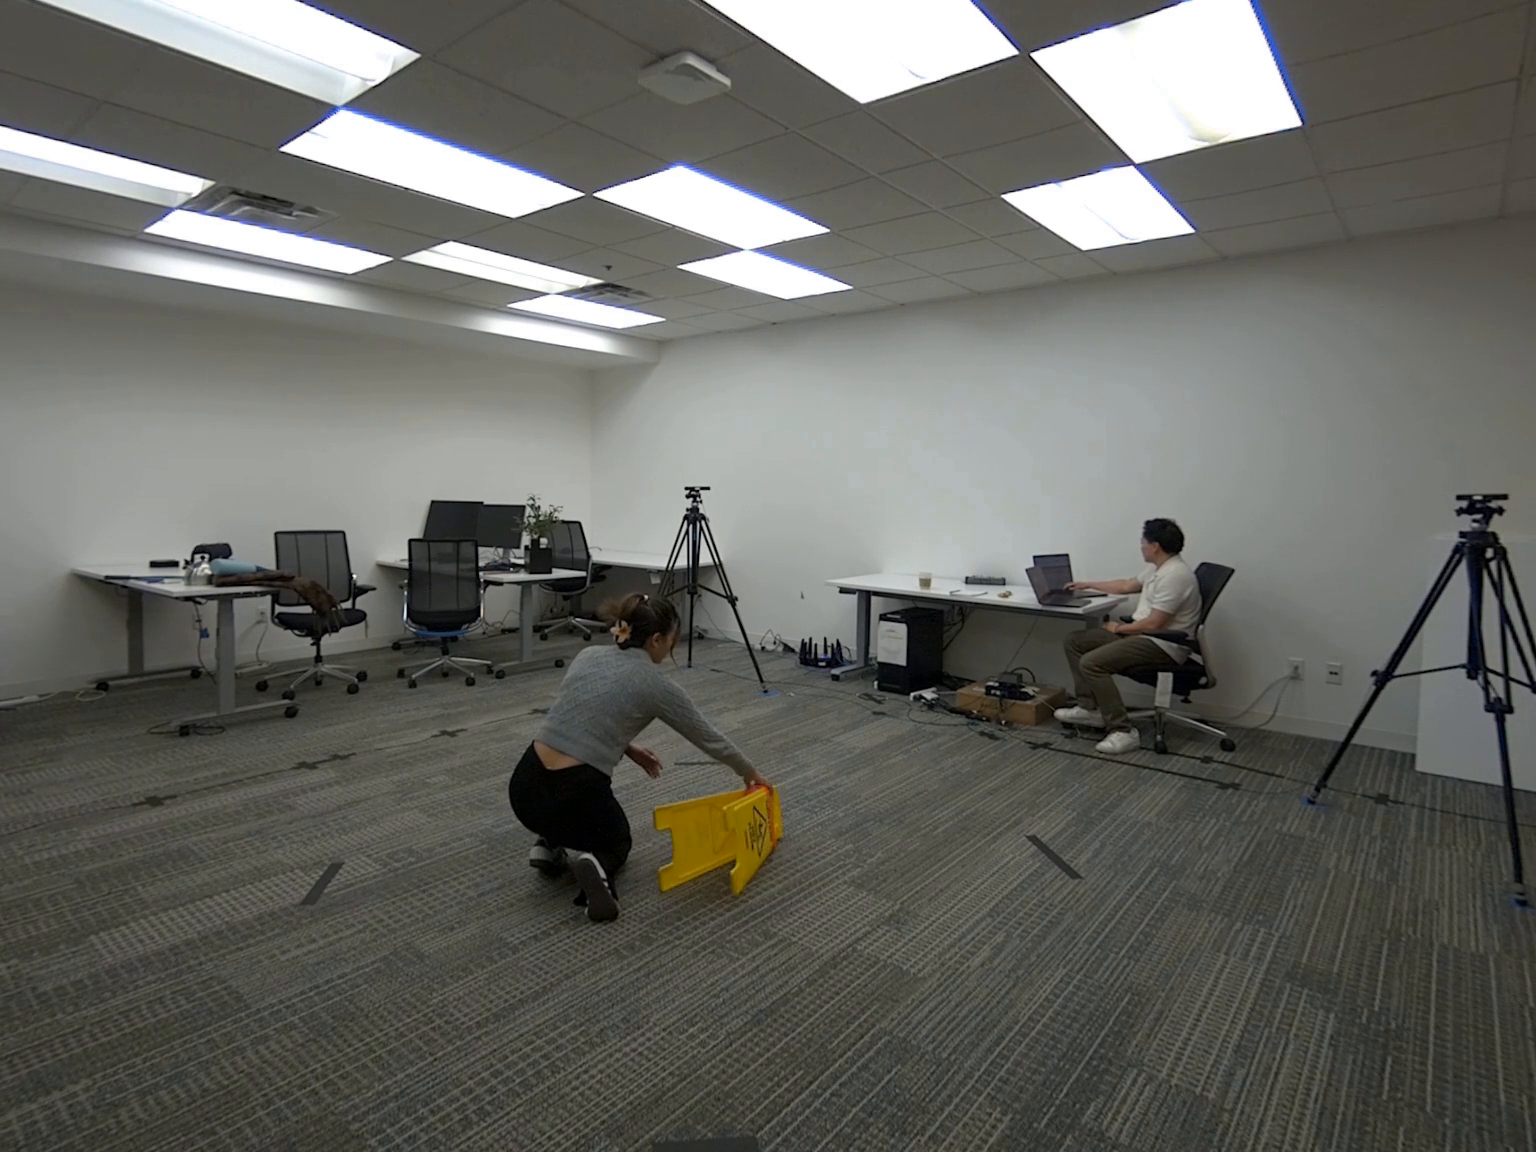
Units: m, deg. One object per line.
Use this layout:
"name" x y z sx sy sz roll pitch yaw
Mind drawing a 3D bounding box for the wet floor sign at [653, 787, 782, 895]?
"wet floor sign" -0.109 0.932 3.123 0.296 0.284 0.627 -10 -7 28
